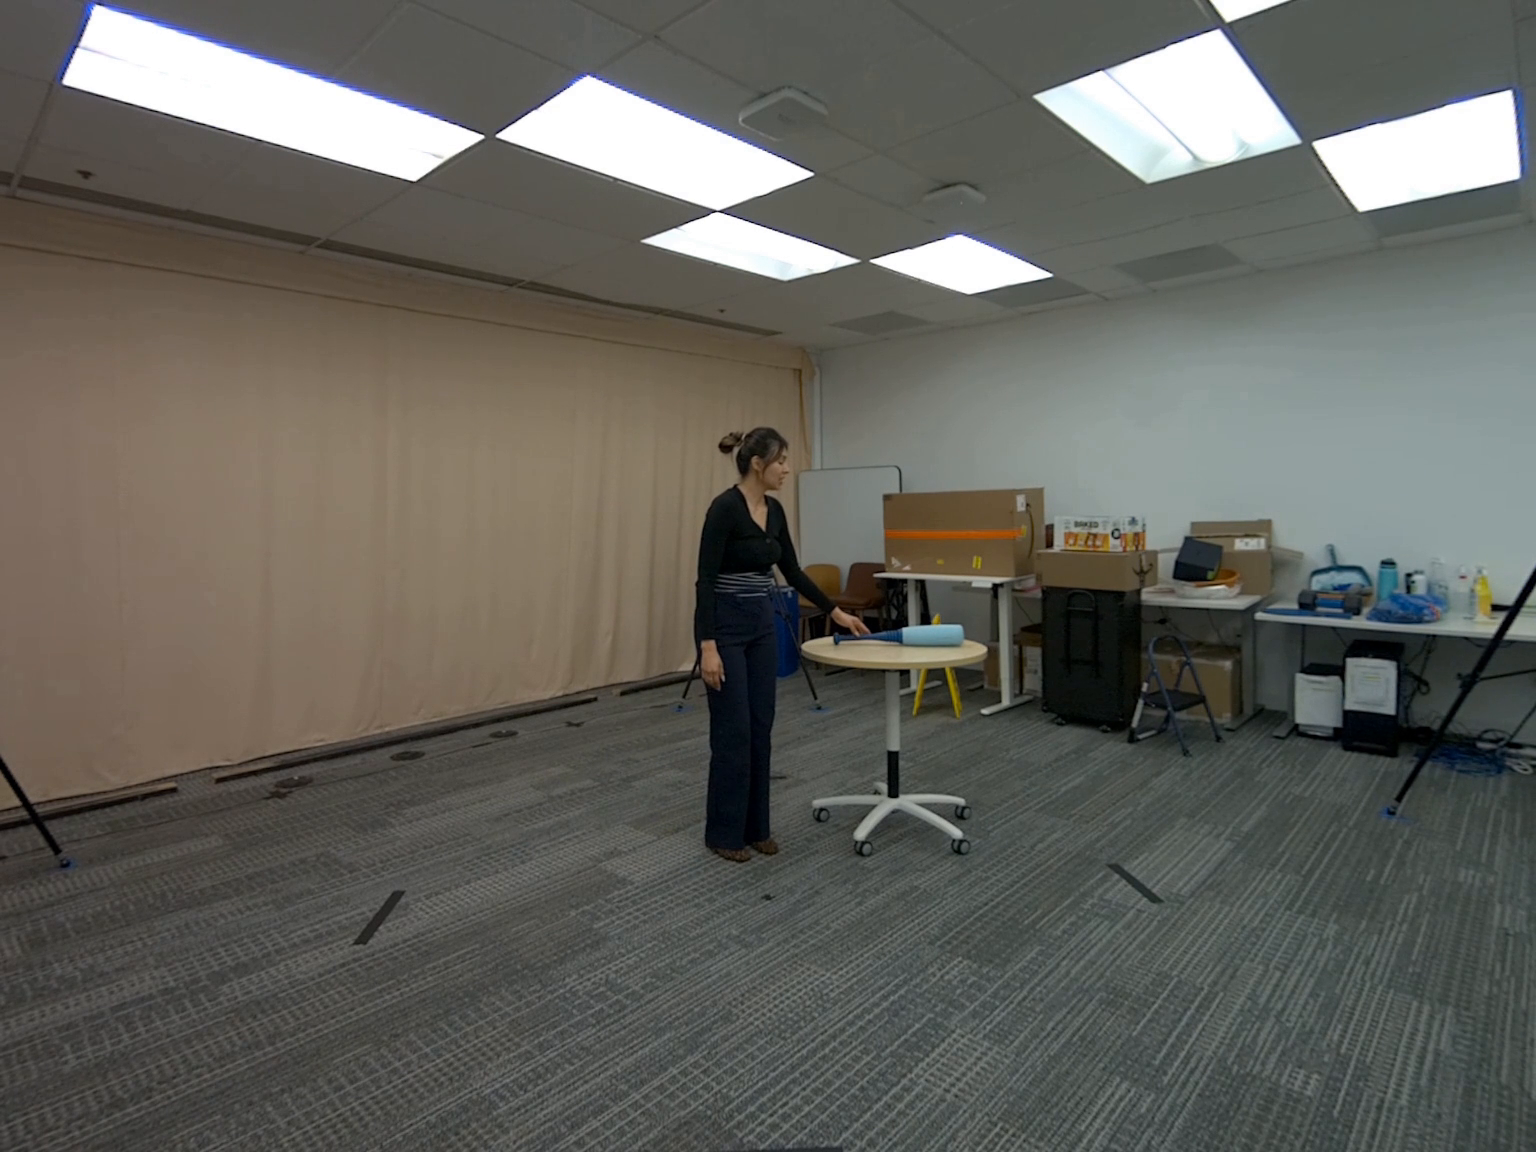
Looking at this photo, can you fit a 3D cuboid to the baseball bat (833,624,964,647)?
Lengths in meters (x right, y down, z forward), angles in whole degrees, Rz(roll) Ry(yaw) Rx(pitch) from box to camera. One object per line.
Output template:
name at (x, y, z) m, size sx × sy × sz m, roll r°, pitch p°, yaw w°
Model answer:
baseball bat at (0.548, 0.254, 3.580) m, size 0.549 × 0.089 × 0.088 m, roll -1°, pitch 4°, yaw 10°
